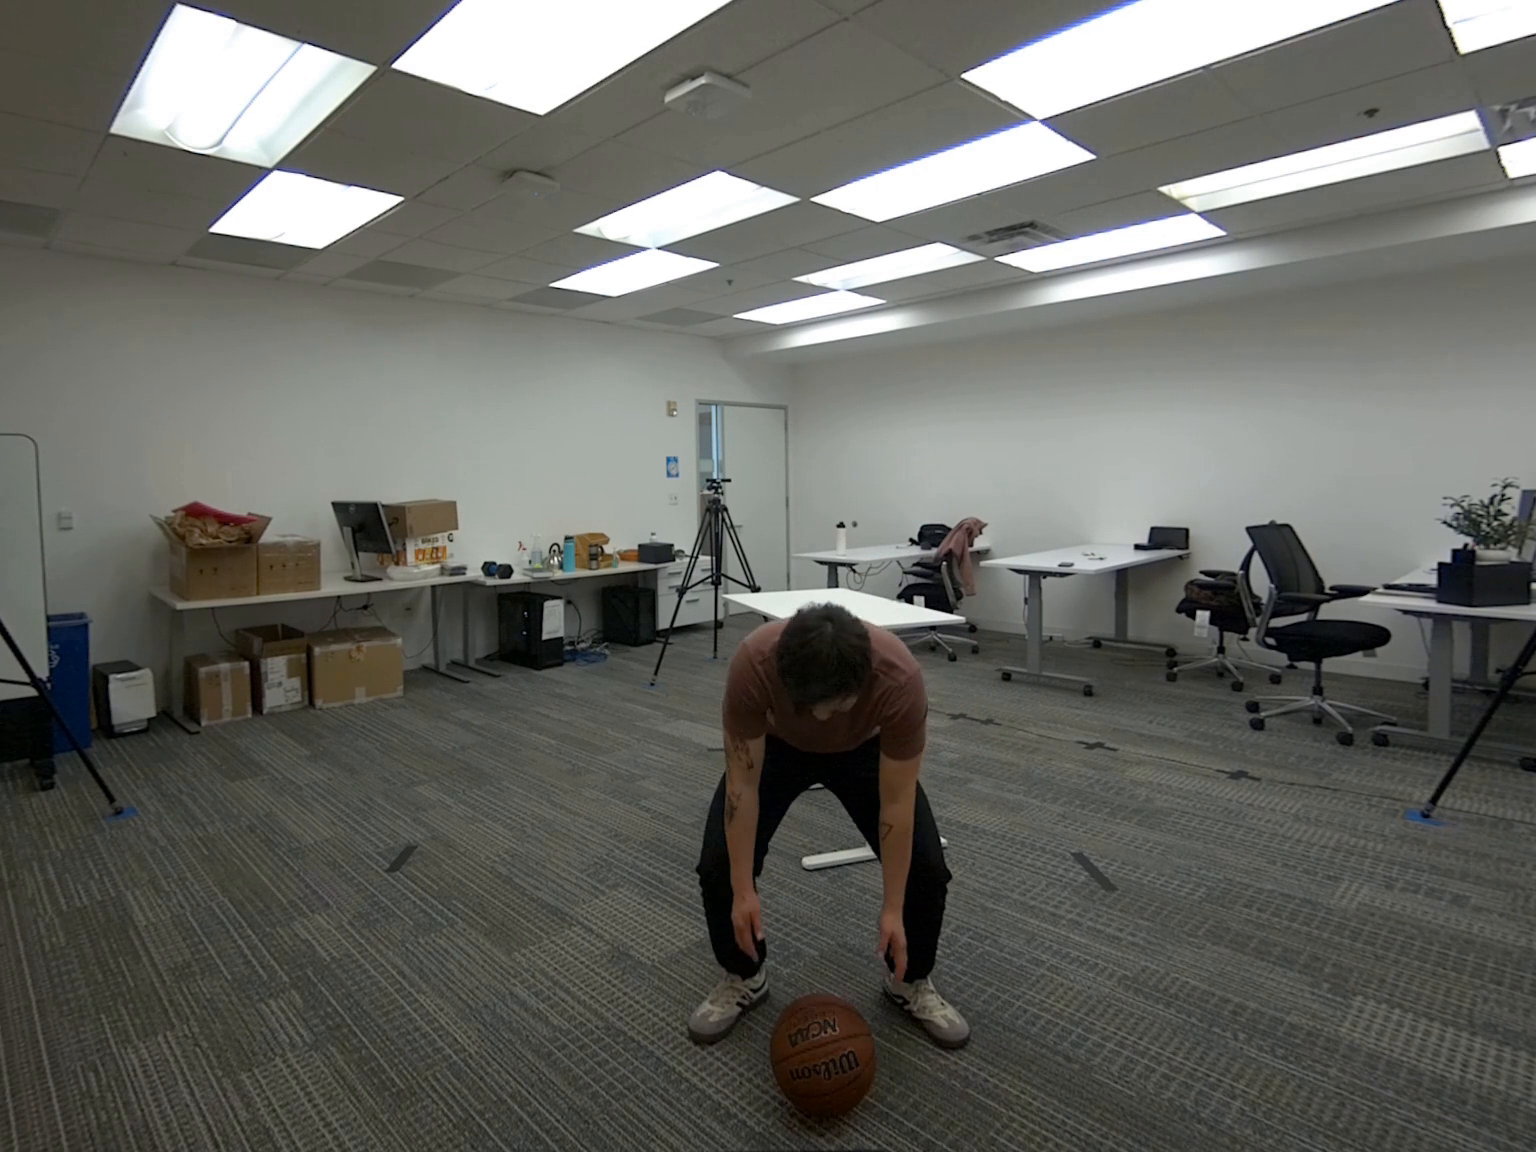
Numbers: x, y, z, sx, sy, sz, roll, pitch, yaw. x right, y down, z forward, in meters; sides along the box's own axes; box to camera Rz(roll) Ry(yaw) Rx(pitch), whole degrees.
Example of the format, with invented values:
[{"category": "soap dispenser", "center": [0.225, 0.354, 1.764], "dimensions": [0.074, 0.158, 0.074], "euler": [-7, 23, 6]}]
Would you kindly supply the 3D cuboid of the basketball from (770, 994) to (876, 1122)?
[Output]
[{"category": "basketball", "center": [0.127, 1.058, 1.908], "dimensions": [0.236, 0.235, 0.237], "euler": [-1, 5, -2]}]
